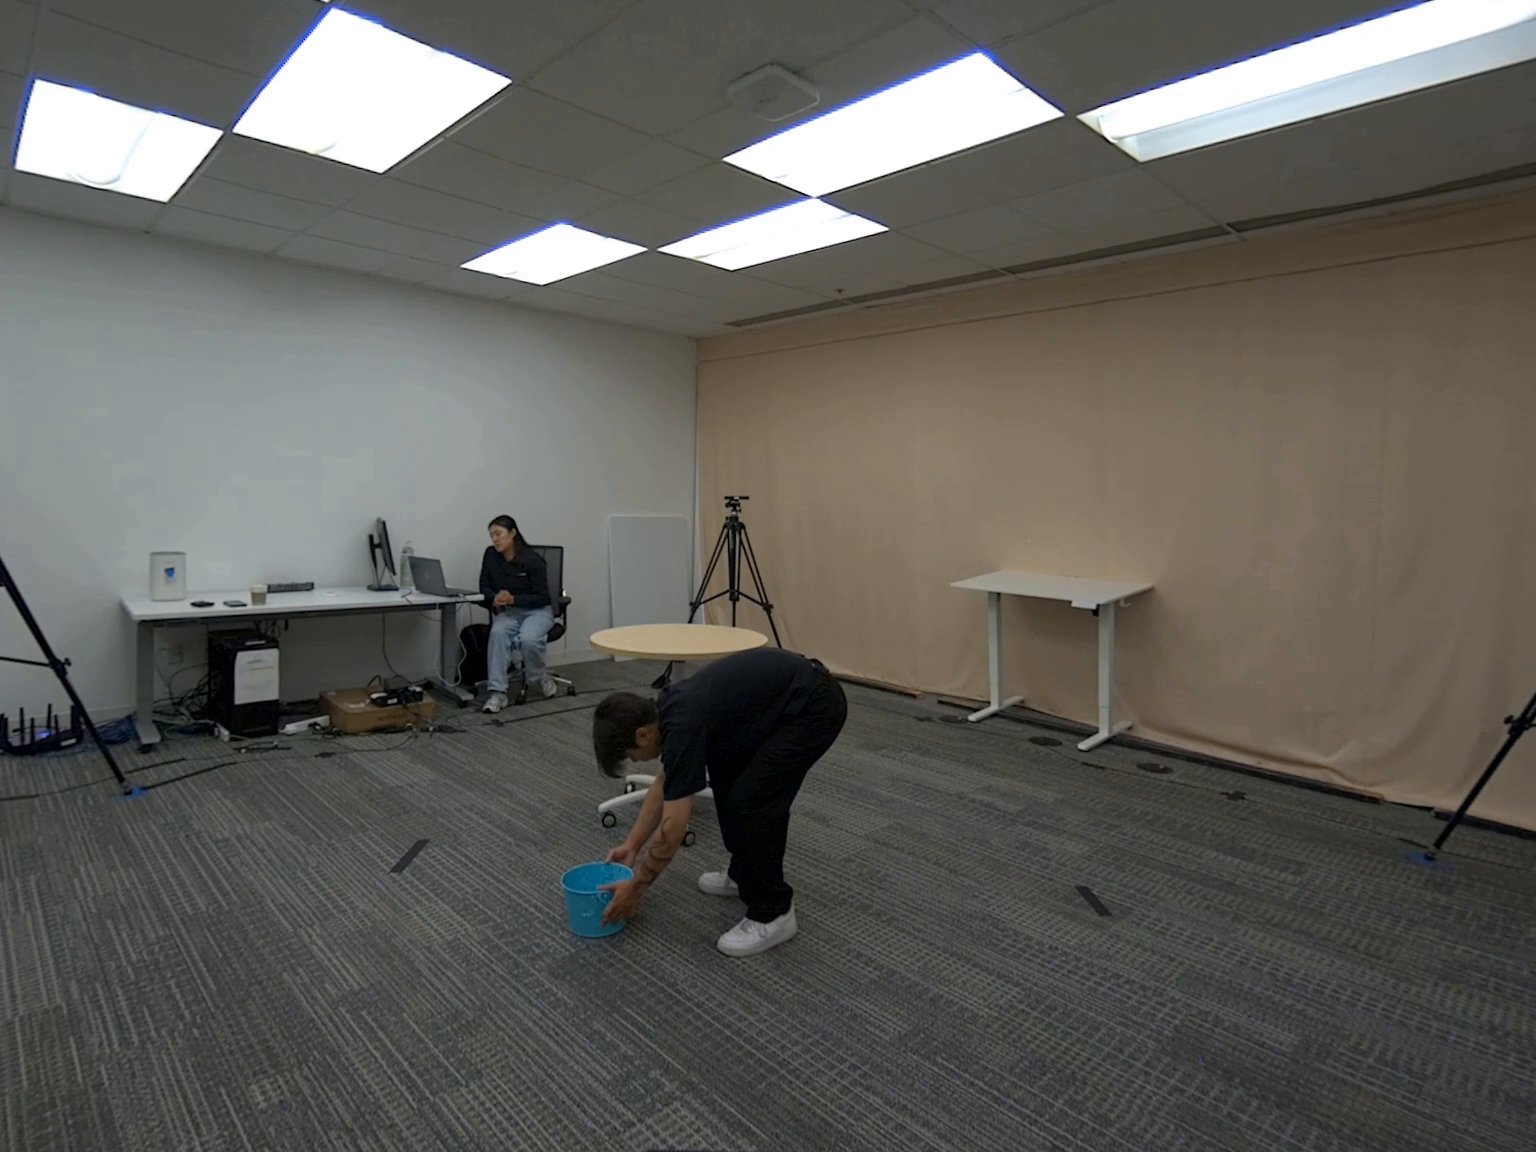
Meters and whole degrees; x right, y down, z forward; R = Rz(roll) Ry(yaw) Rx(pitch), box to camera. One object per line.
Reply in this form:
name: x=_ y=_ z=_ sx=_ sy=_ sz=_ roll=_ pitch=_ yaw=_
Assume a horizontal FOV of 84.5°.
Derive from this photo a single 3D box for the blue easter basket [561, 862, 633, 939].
blue easter basket: x=-0.561 y=1.051 z=2.722 sx=0.243 sy=0.155 sz=0.244 roll=-1 pitch=4 yaw=-1
